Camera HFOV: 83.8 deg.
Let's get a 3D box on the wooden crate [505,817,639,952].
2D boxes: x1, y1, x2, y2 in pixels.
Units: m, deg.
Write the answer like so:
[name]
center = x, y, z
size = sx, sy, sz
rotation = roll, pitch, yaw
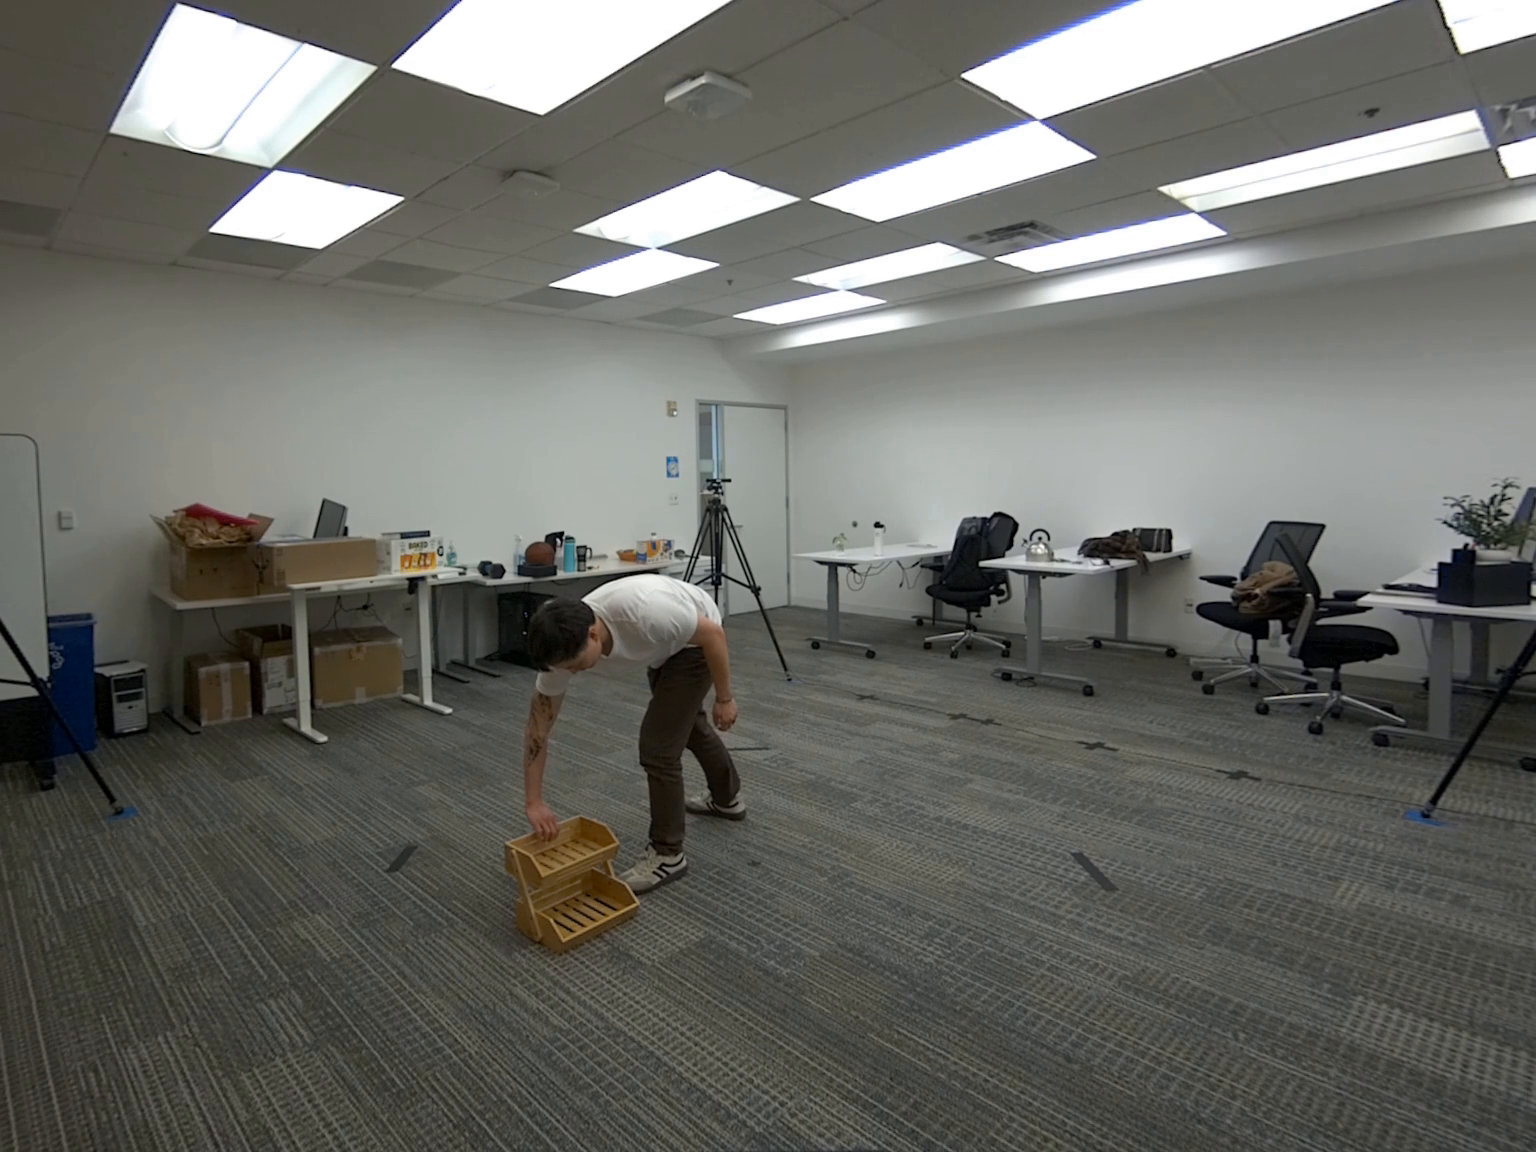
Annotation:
[wooden crate]
center = -0.619, 0.965, 2.722
size = 0.311, 0.272, 0.316
rotation = 3, 7, 42
